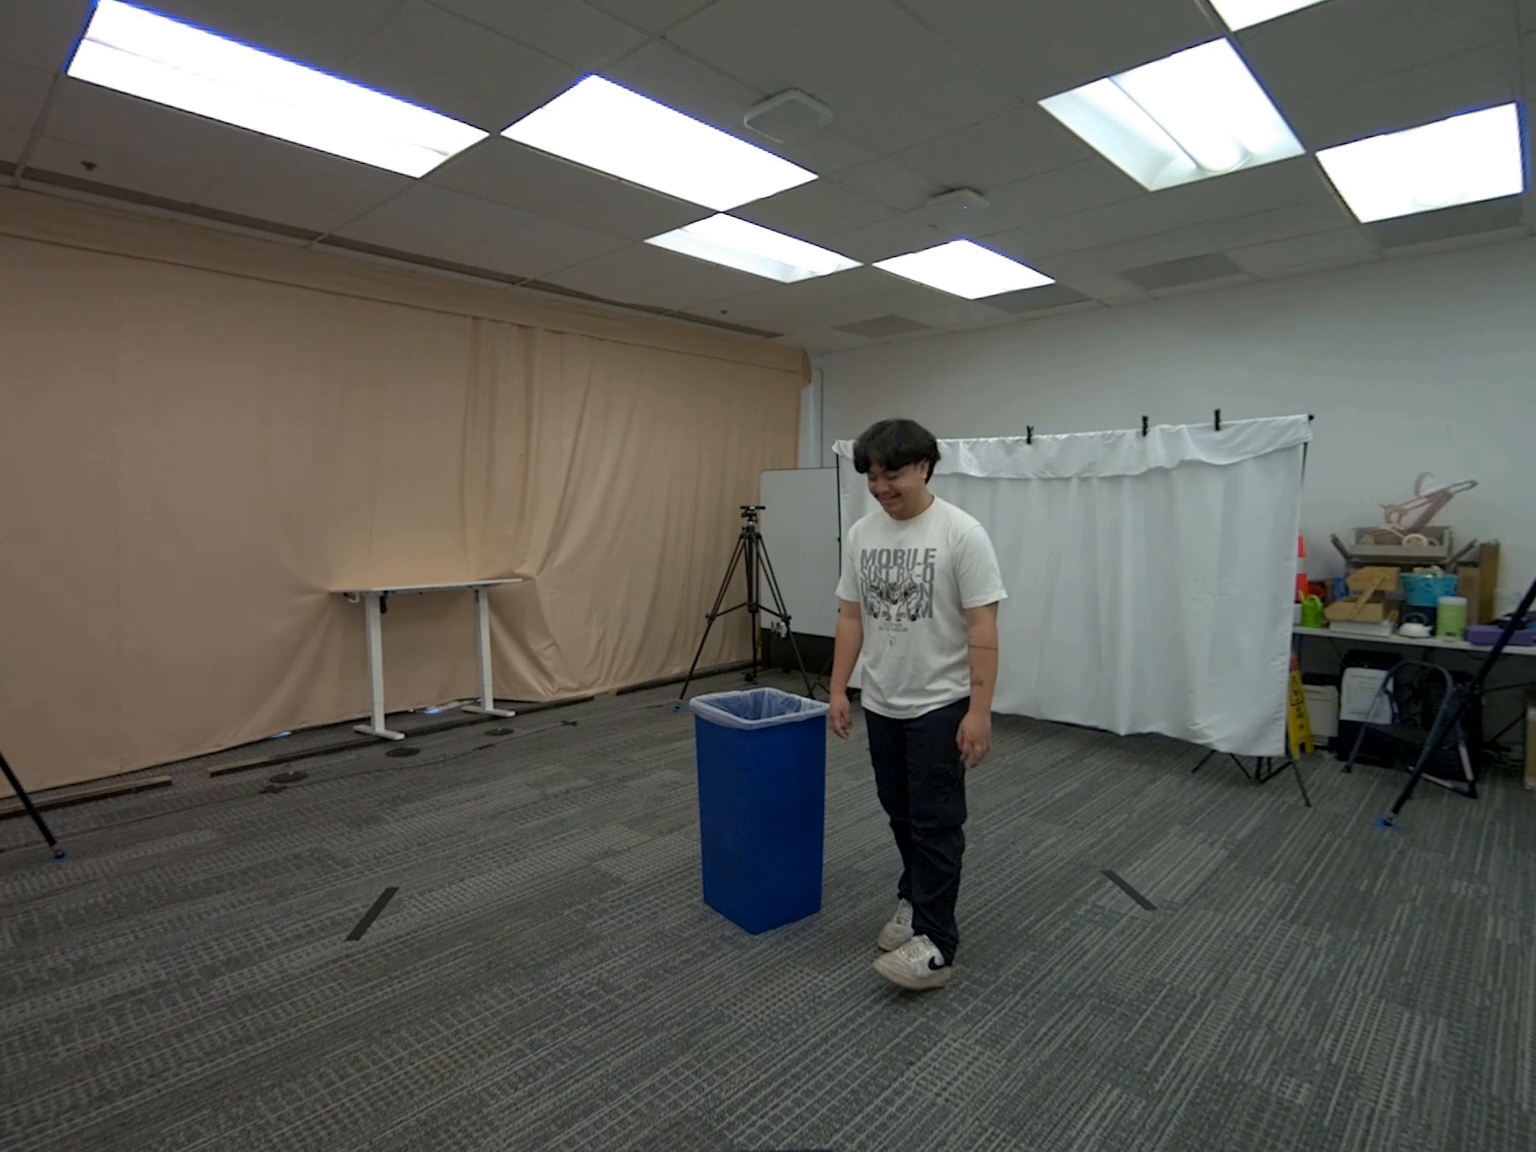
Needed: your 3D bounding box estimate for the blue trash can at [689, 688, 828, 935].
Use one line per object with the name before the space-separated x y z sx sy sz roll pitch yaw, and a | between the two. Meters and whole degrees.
blue trash can | -0.026 0.792 2.908 0.363 0.712 0.390 -2 4 -37
